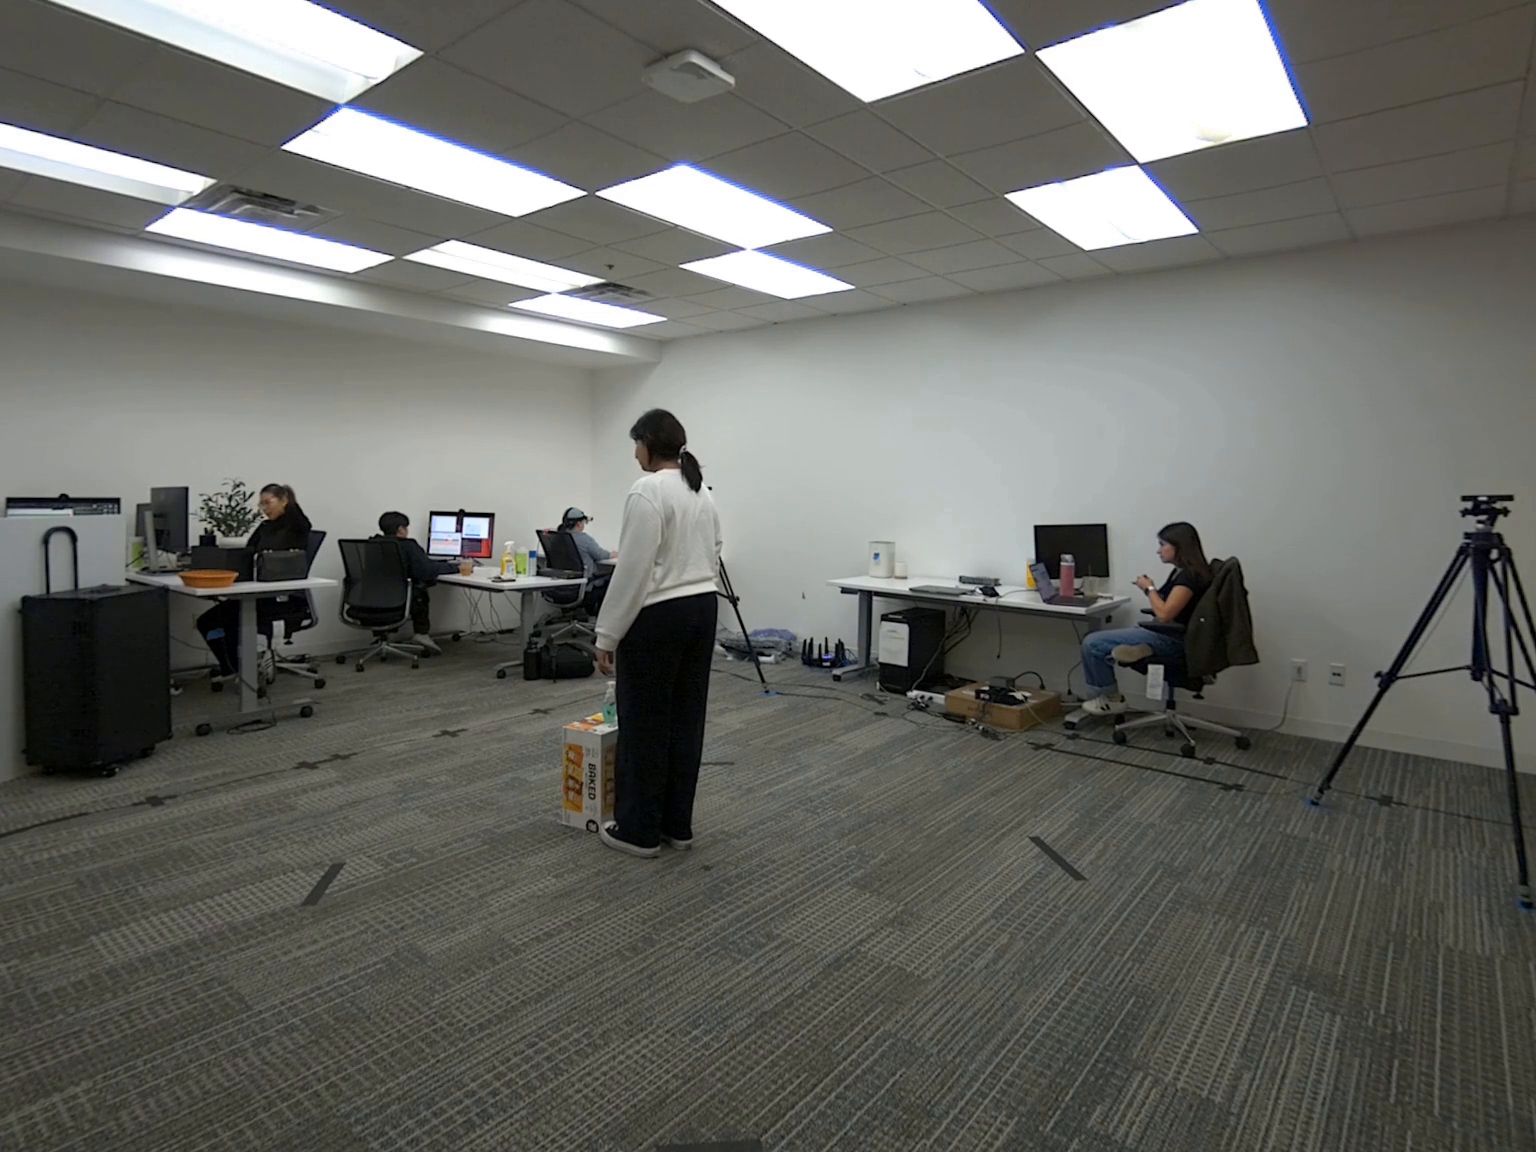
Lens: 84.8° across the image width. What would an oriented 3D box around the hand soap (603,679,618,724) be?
[{"bbox_3d":[-0.656,0.526,3.564,0.045,0.167,0.082,5,7,30],"label":"hand soap"}]
